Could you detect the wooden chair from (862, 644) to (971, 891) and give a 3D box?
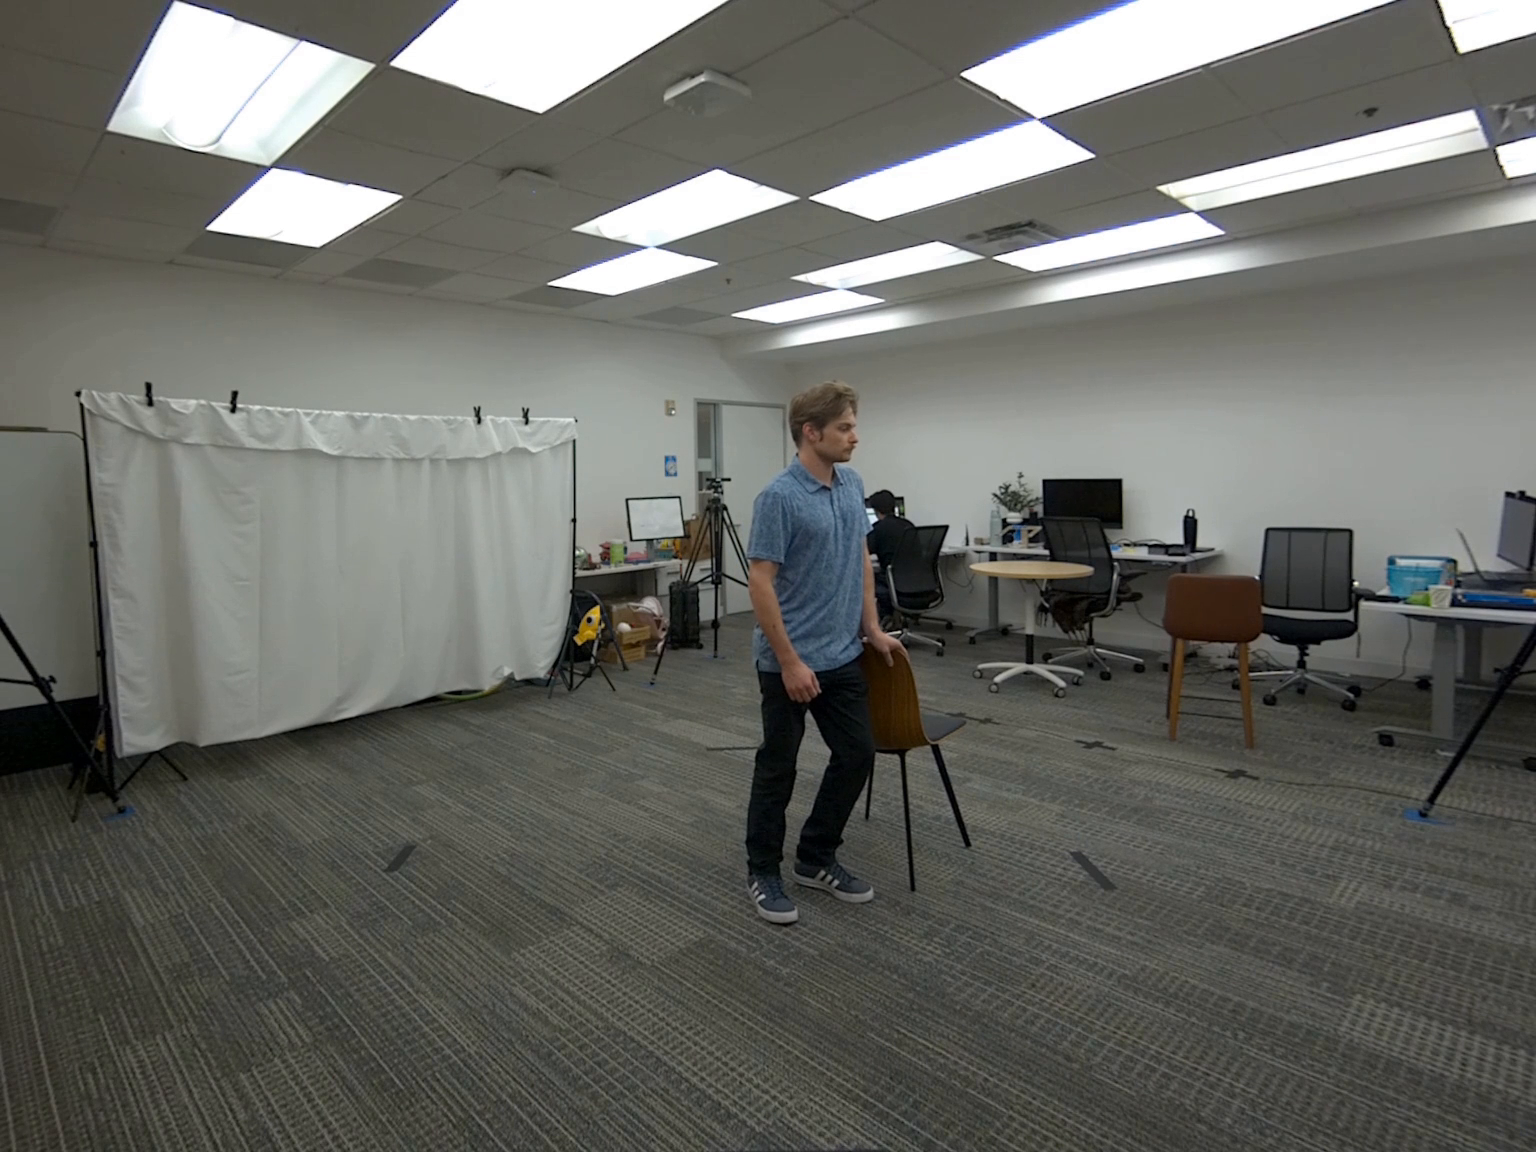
[{"bbox_3d":[0.445,0.598,3.160,0.492,0.871,0.512,2,10,38],"label":"wooden chair"}]
